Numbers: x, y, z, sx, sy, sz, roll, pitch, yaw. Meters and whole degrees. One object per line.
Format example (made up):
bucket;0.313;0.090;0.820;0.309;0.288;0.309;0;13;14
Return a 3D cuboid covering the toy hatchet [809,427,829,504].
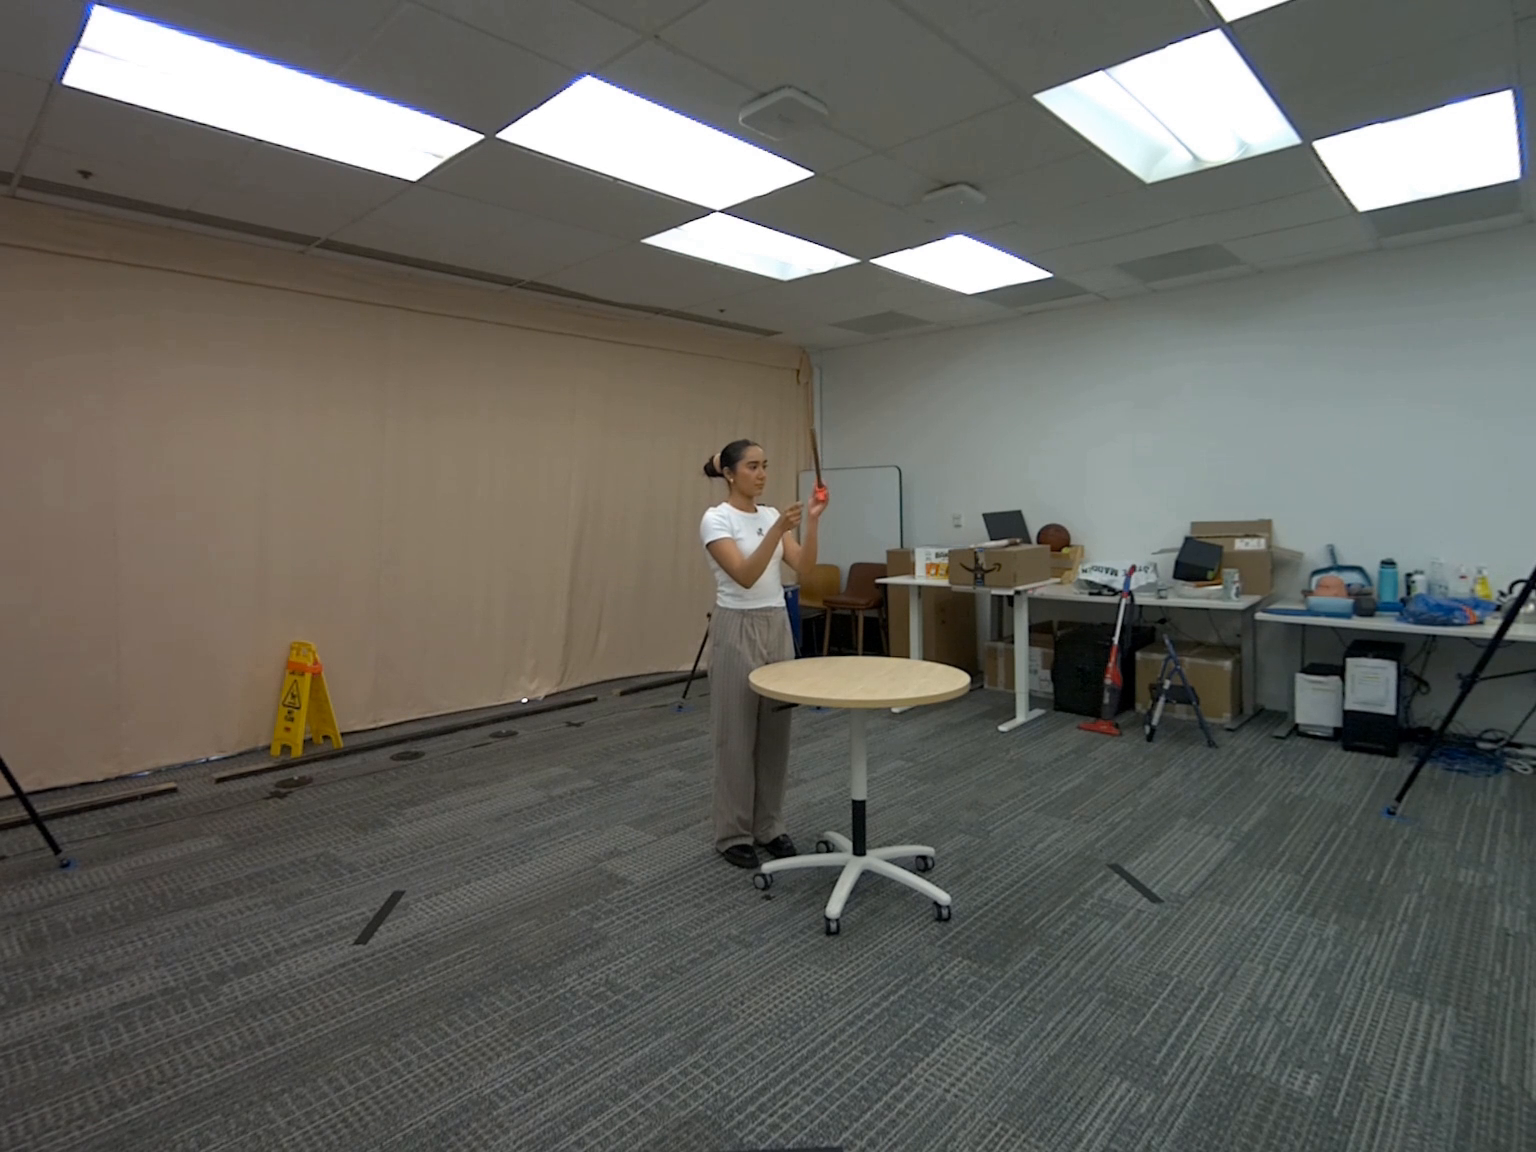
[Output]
toy hatchet;0.186;-0.408;3.097;0.030;0.269;0.130;-3;4;5
